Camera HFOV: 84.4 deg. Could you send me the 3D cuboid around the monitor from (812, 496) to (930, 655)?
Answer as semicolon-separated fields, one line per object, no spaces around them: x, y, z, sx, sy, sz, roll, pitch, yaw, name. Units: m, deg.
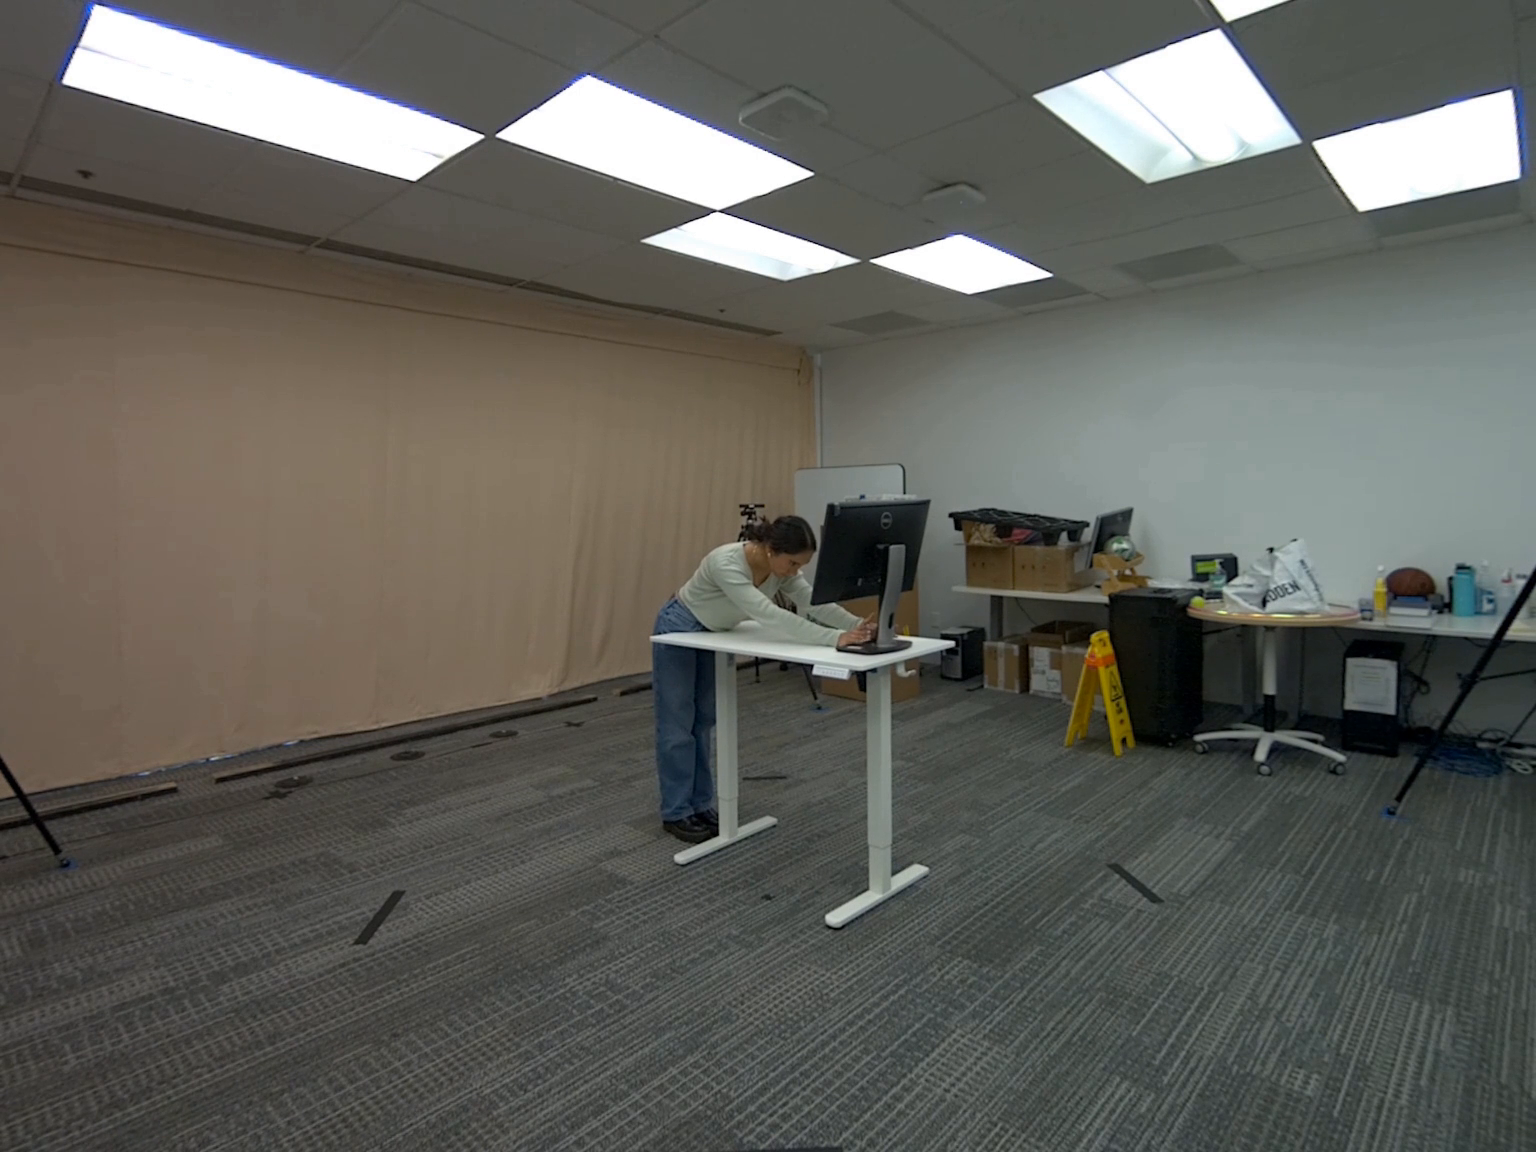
0.402;-0.002;2.911;0.523;0.520;0.193;-6;8;-43;monitor
